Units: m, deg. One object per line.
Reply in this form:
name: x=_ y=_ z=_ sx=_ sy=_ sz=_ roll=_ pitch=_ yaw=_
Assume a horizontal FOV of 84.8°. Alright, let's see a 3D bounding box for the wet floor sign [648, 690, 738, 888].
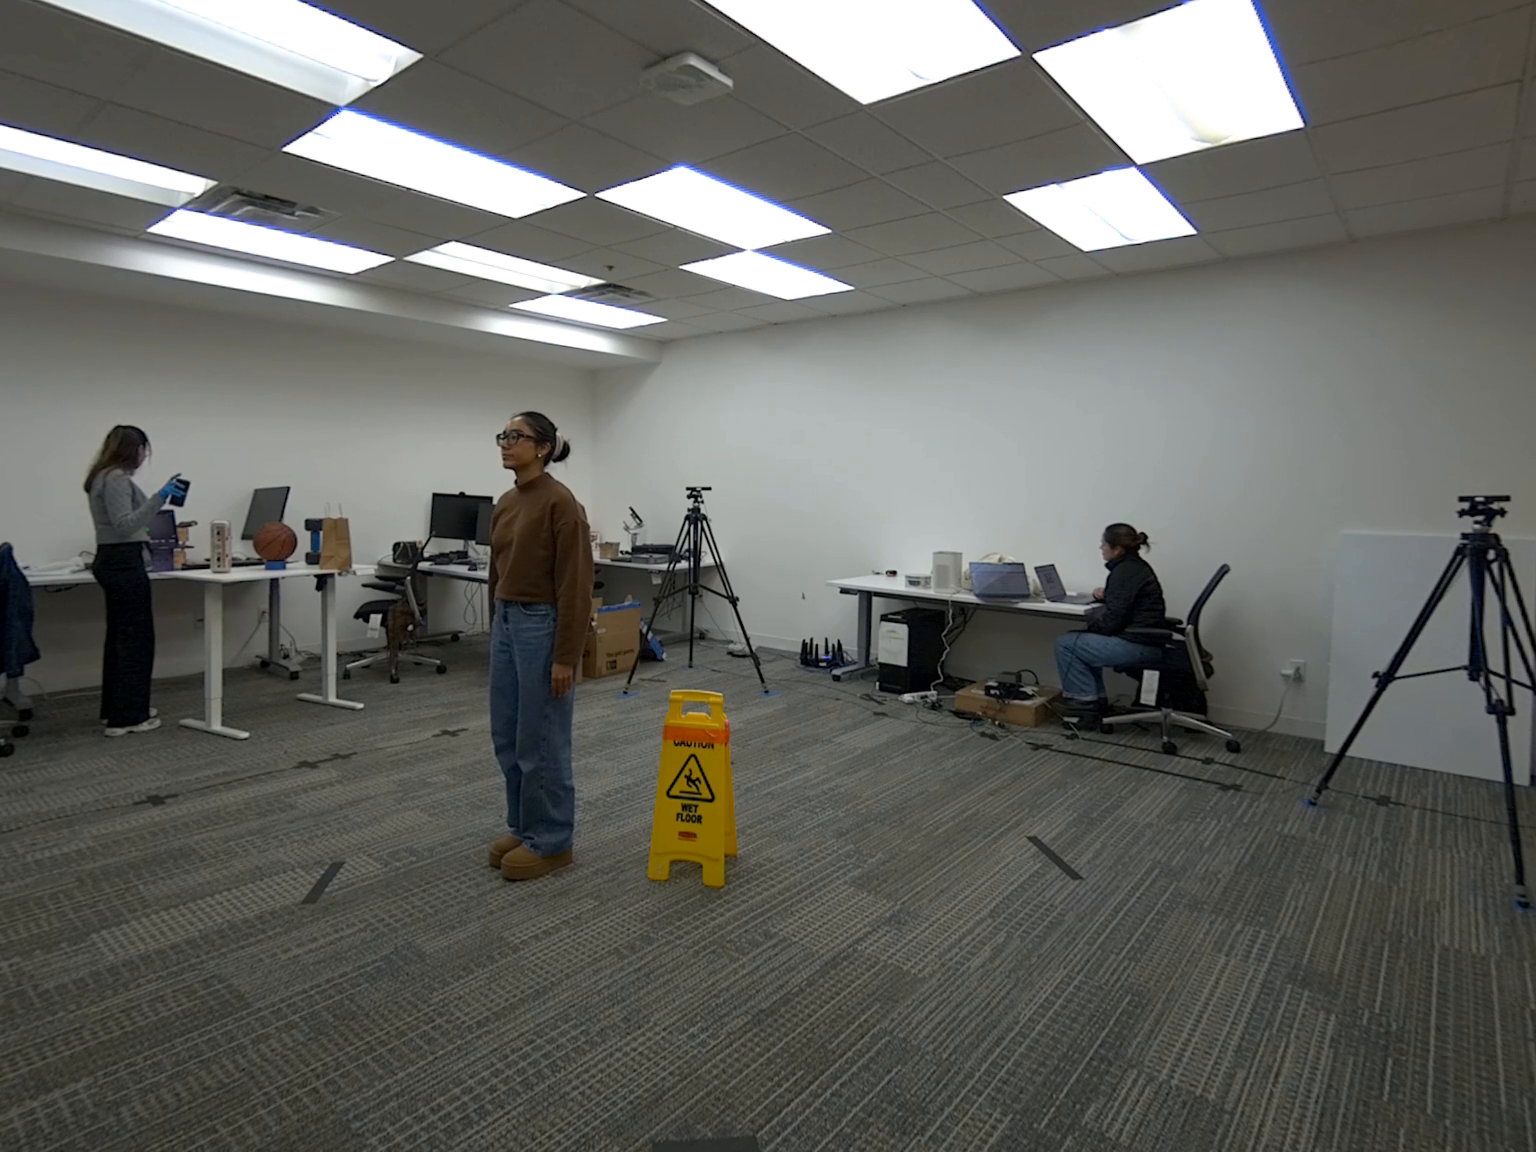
wet floor sign: x=-0.277 y=0.747 z=3.096 sx=0.285 sy=0.644 sz=0.287 roll=1 pitch=3 yaw=10
